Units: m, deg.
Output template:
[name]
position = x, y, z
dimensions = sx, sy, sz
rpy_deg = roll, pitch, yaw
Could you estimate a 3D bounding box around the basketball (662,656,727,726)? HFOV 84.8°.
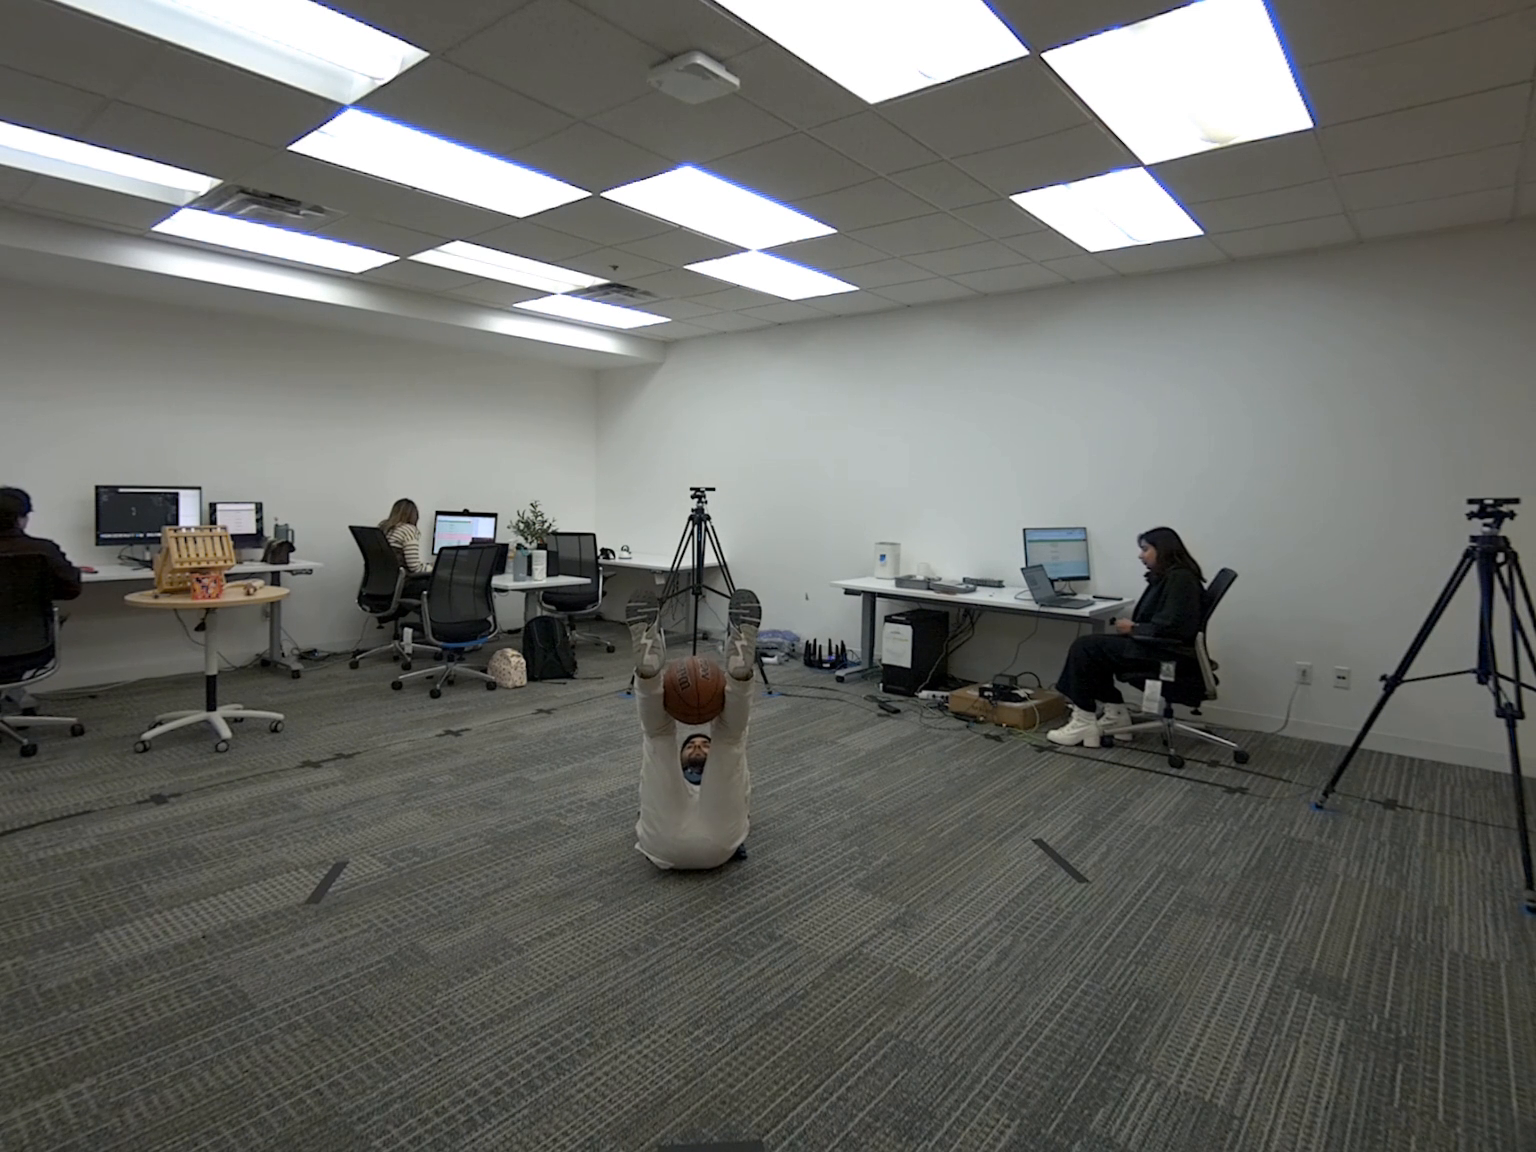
[basketball]
position = -0.265, 0.398, 2.984
dimensions = 0.235, 0.235, 0.237
rpy_deg = 1, 4, -2
